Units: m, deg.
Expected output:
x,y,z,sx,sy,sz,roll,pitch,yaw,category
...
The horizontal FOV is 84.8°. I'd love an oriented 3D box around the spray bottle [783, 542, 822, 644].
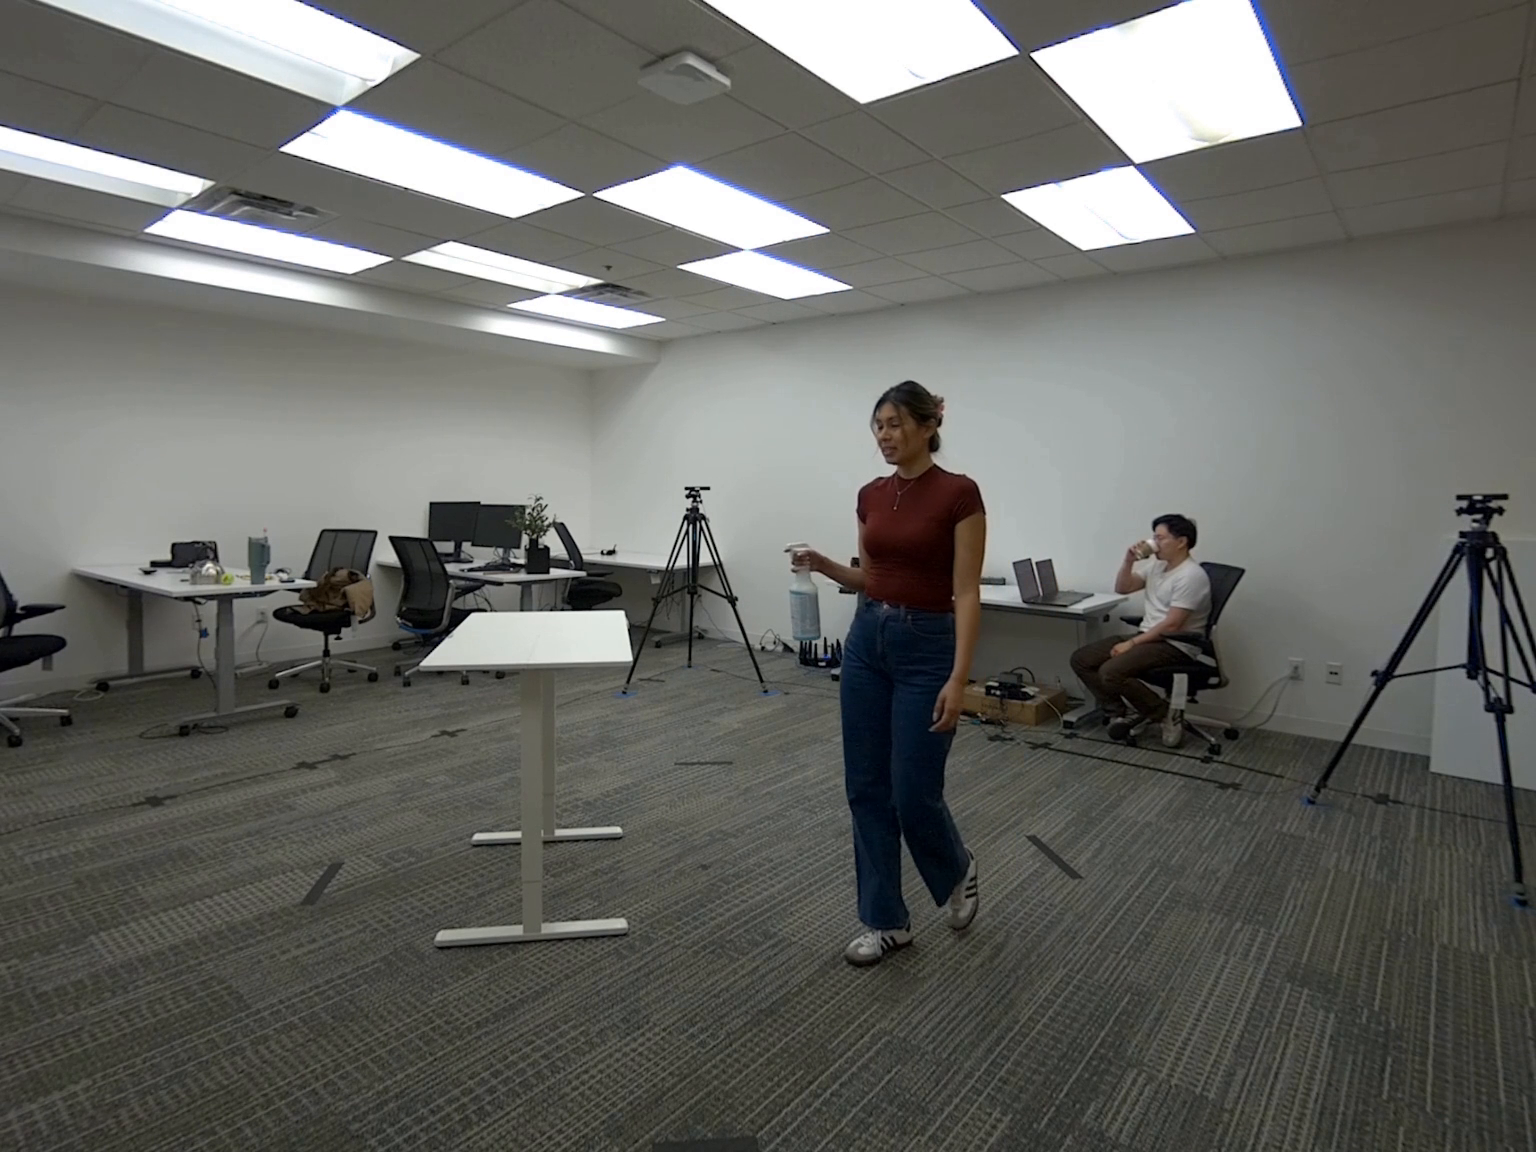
x,y,z,sx,sy,sz,roll,pitch,yaw,category
0.108,0.048,2.574,0.089,0.295,0.088,-7,6,-8,spray bottle
